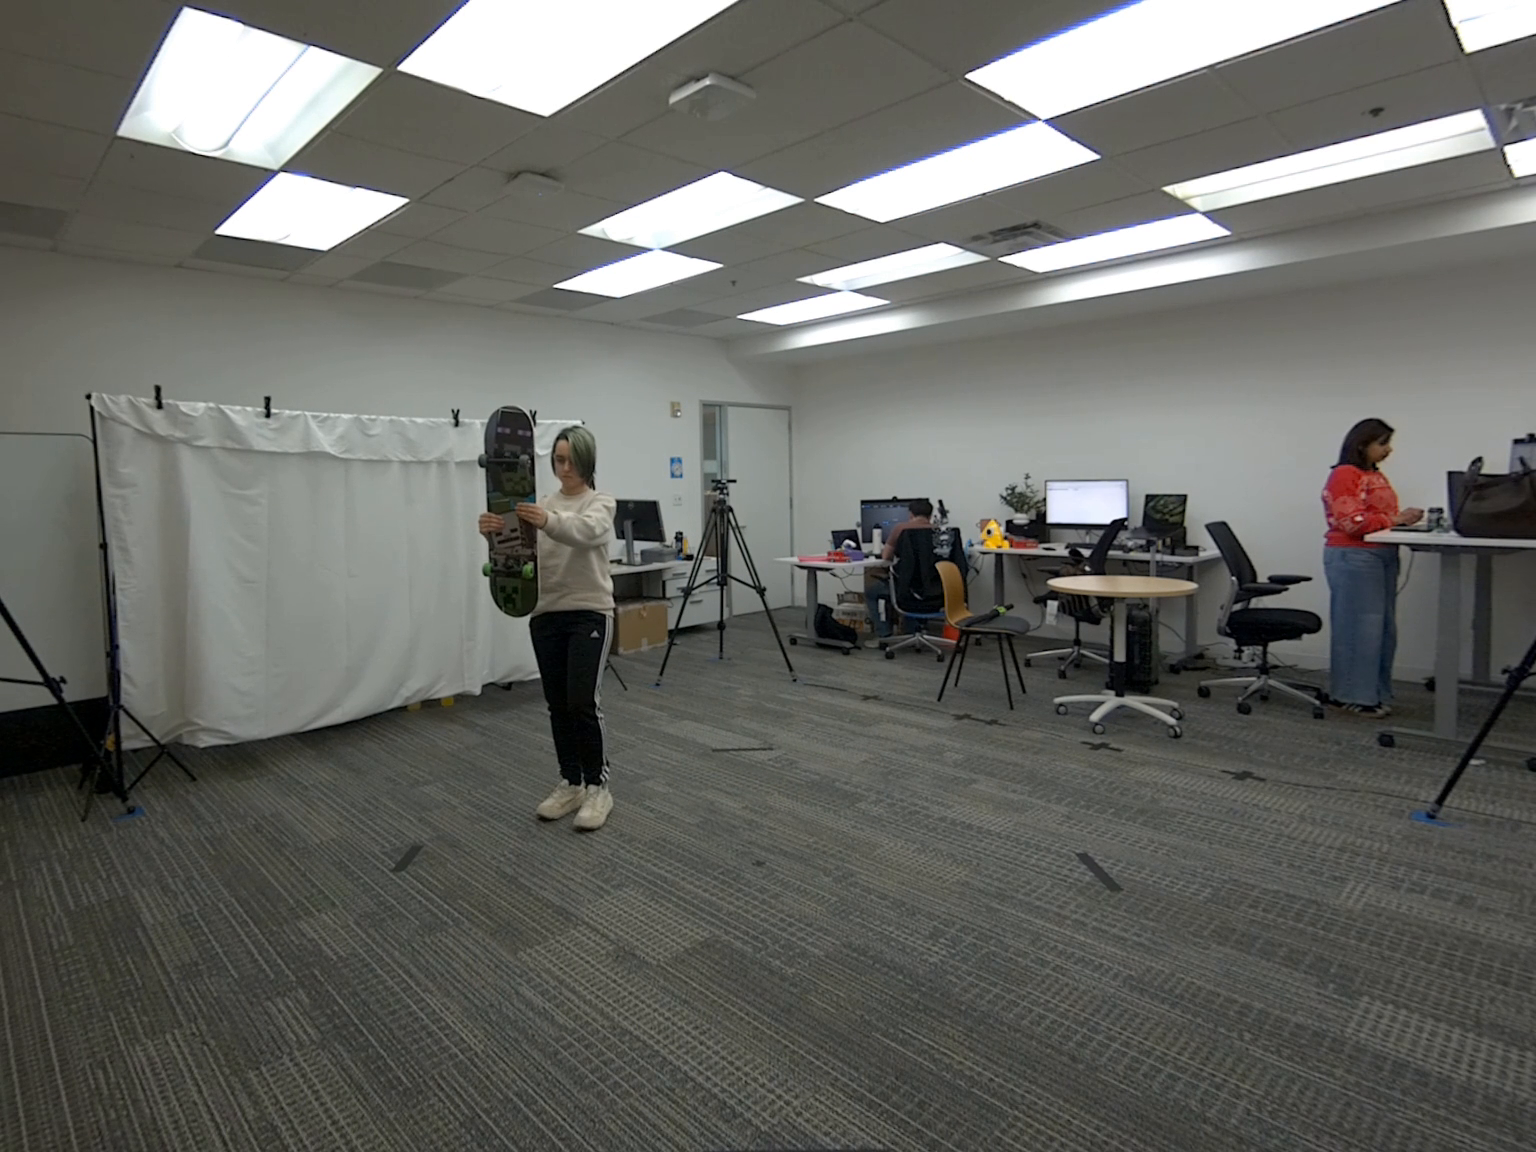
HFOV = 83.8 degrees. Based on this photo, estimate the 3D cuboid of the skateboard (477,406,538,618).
[{"bbox_3d":[-0.946,-0.220,3.107,0.195,0.778,0.110,2,10,10],"label":"skateboard"}]
